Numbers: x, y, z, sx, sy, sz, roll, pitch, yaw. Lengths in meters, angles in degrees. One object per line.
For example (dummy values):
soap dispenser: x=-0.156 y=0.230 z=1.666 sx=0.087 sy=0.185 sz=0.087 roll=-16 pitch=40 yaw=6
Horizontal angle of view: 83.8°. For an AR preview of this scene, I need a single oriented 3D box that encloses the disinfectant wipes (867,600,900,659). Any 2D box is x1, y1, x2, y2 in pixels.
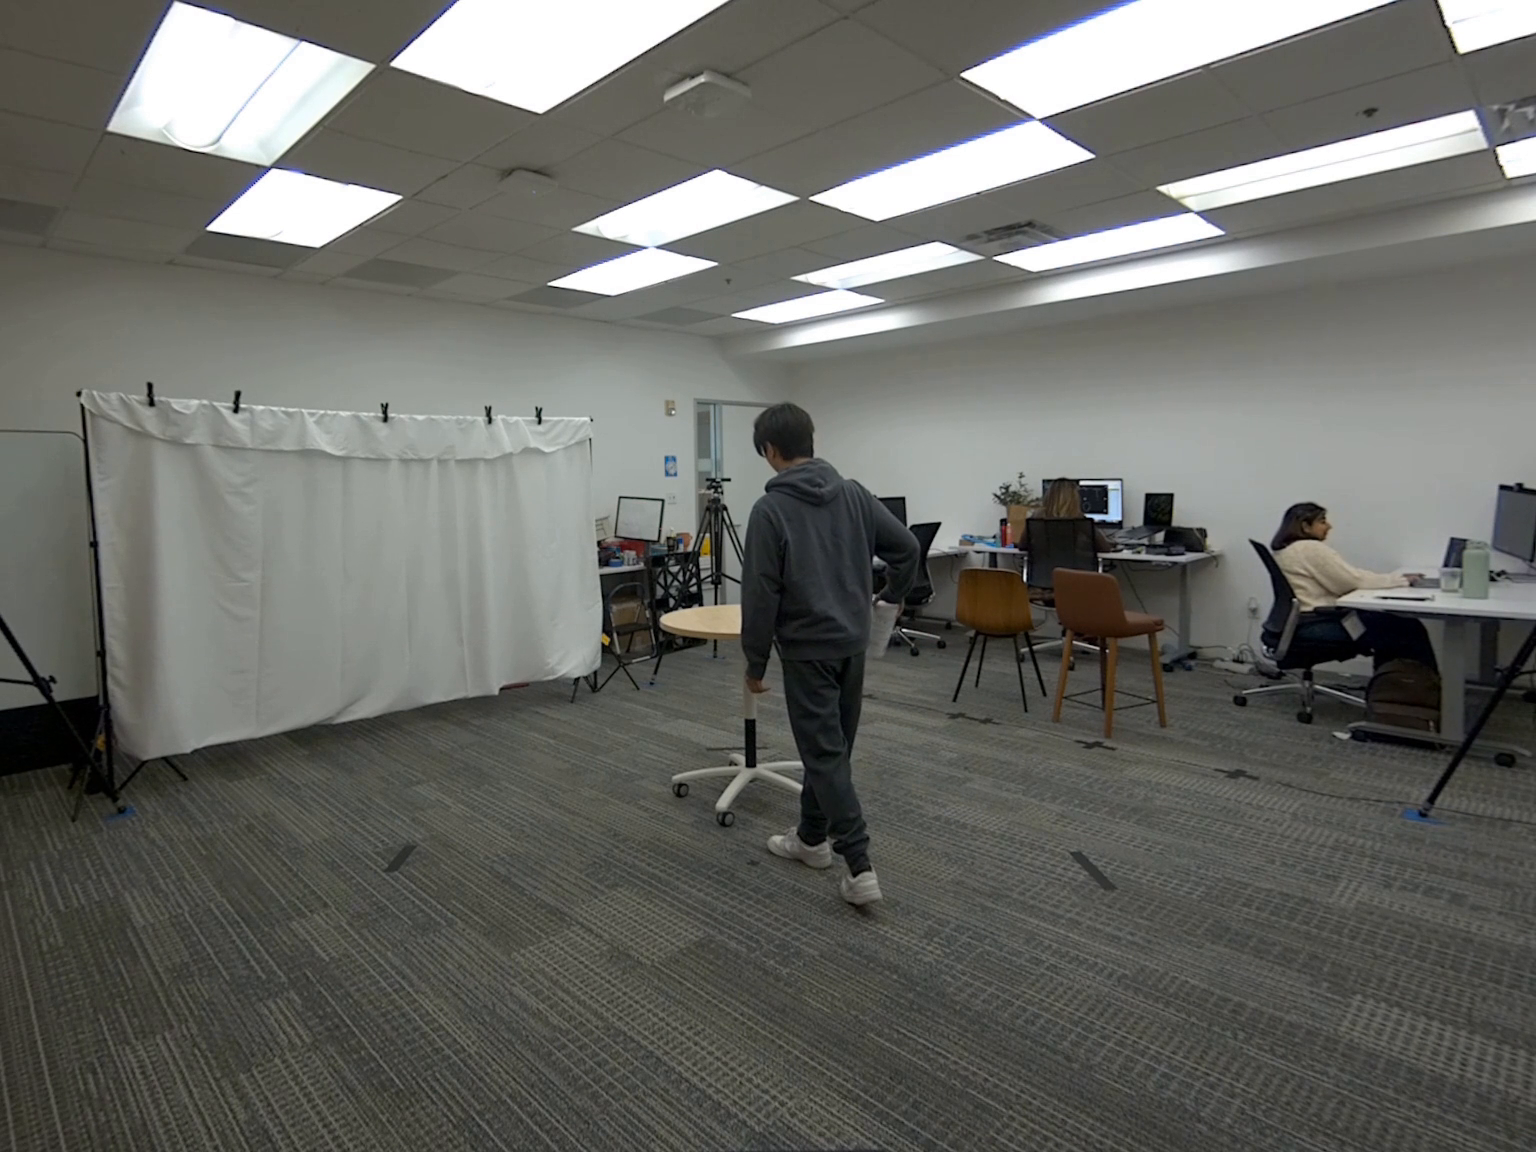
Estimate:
disinfectant wipes: x=0.430 y=0.198 z=3.297 sx=0.117 sy=0.215 sz=0.120 roll=9 pitch=18 yaw=-5
